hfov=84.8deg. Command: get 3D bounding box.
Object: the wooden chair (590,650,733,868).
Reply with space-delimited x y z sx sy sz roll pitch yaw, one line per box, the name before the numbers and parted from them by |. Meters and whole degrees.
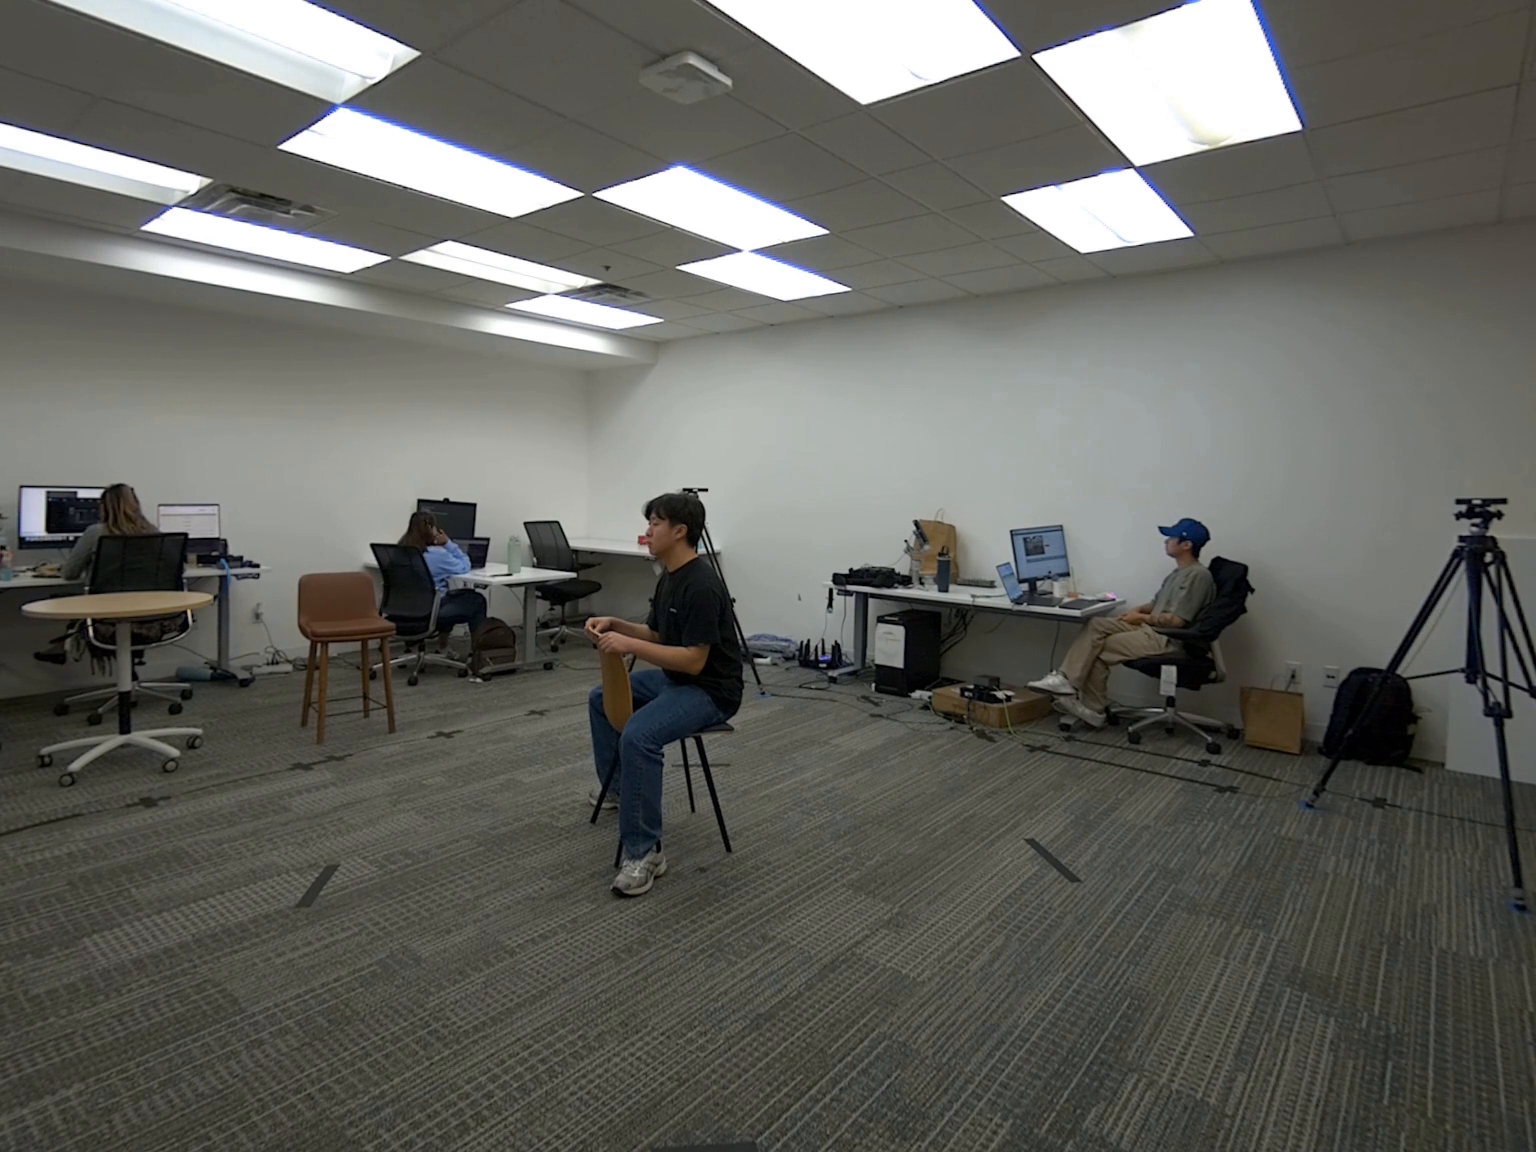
wooden chair | -0.429 0.613 3.369 0.513 0.874 0.489 -4 4 -21
